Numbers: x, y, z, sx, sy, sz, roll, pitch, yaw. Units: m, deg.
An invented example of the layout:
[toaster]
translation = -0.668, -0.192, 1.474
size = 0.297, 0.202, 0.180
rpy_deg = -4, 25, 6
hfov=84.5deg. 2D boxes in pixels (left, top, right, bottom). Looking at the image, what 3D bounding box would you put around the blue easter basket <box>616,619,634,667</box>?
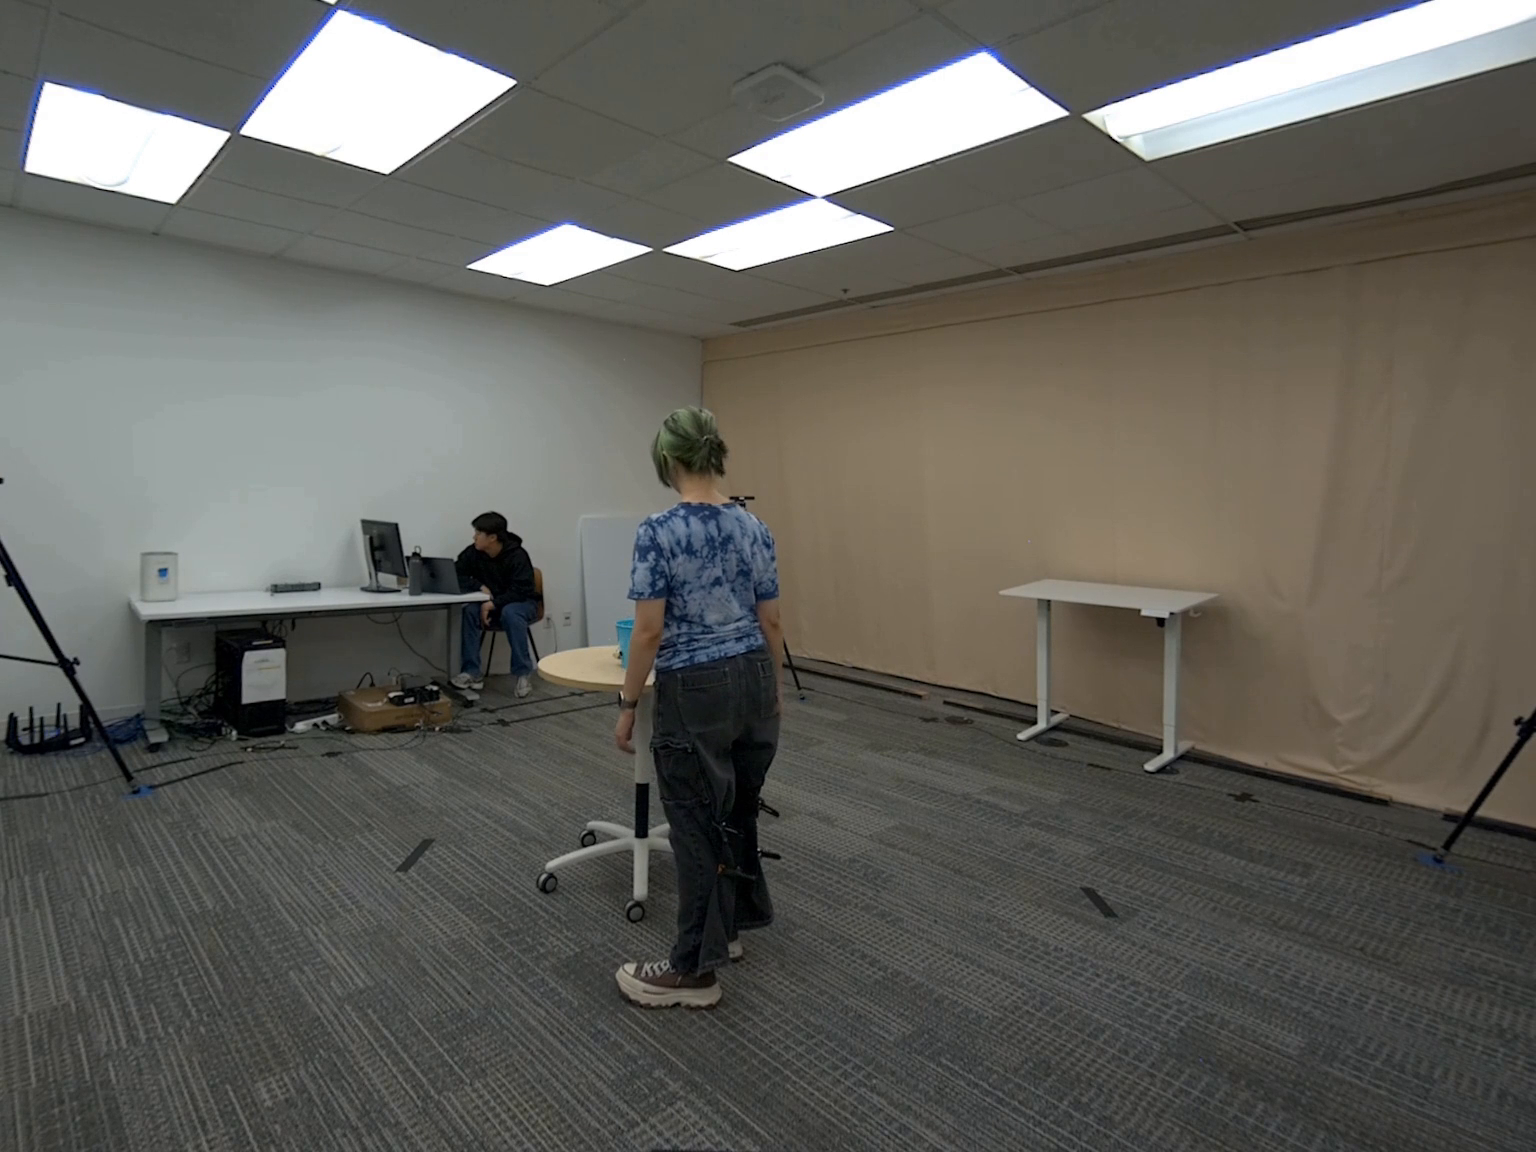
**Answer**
[blue easter basket]
translation = -0.449, 0.249, 3.001
size = 0.243, 0.155, 0.244
rpy_deg = 1, 4, -1
